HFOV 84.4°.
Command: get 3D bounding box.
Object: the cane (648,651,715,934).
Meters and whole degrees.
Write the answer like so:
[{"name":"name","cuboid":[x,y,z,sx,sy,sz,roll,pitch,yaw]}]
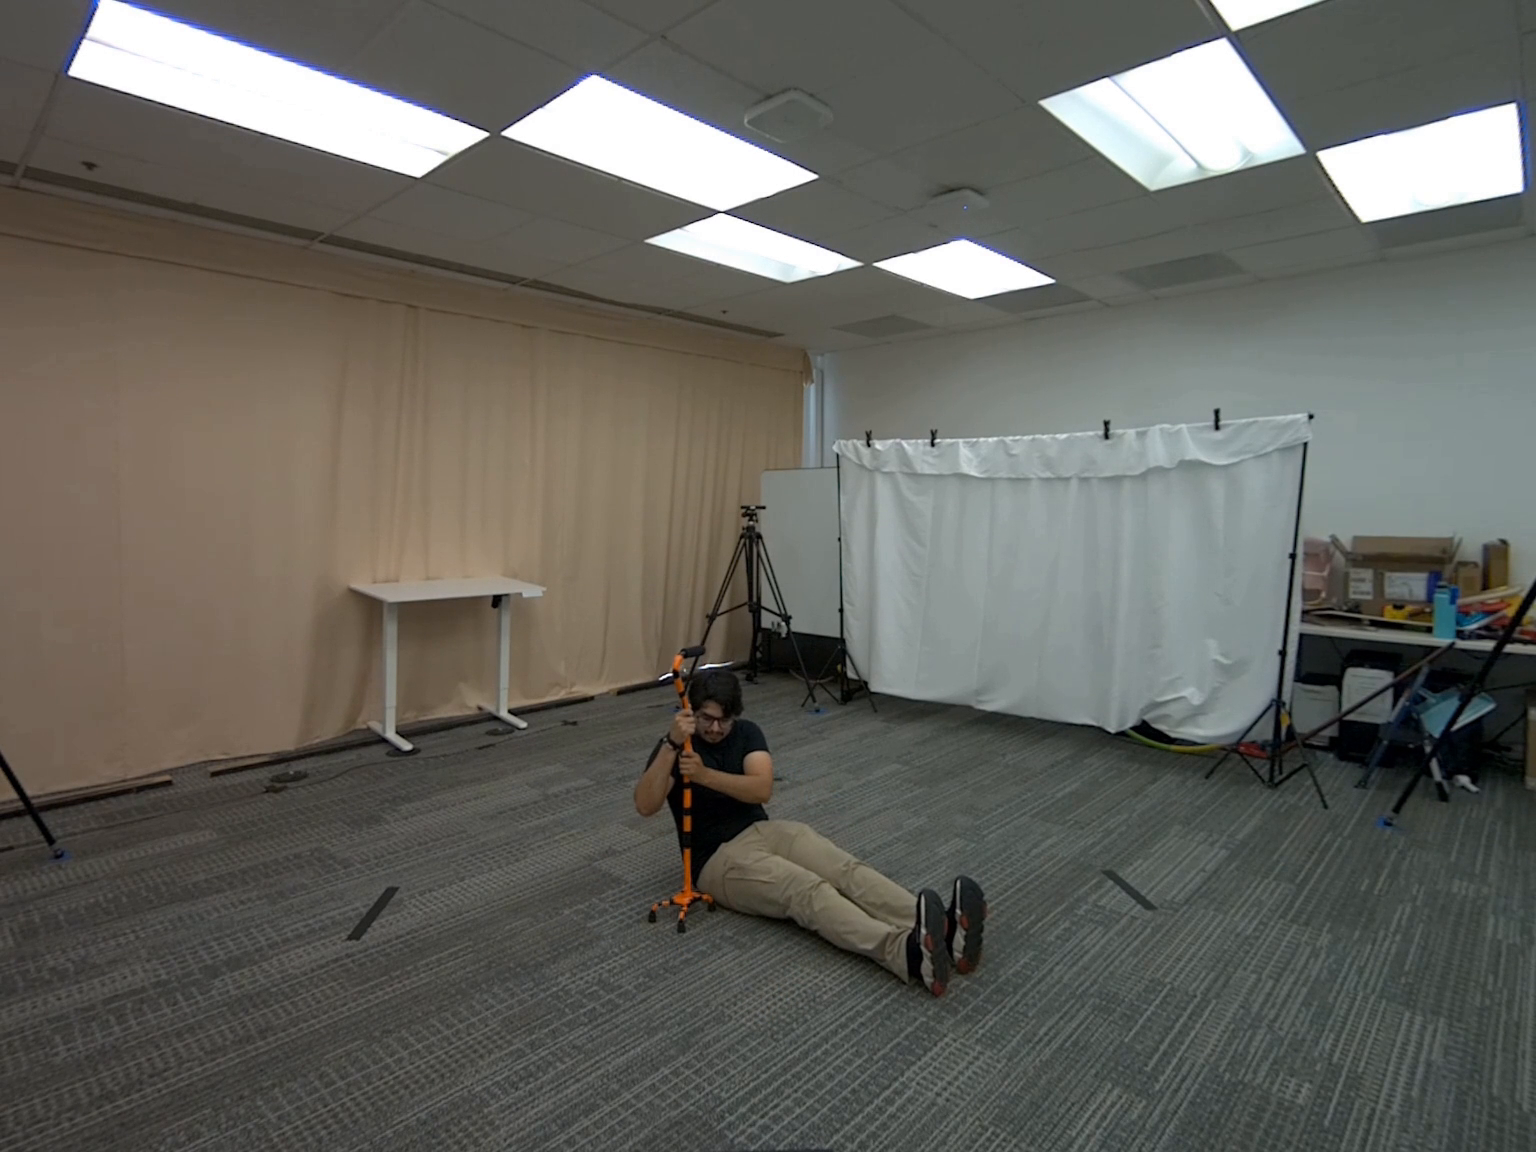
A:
[{"name":"cane","cuboid":[-0.289,0.698,2.851,0.156,0.907,0.200,0,1,33]}]
